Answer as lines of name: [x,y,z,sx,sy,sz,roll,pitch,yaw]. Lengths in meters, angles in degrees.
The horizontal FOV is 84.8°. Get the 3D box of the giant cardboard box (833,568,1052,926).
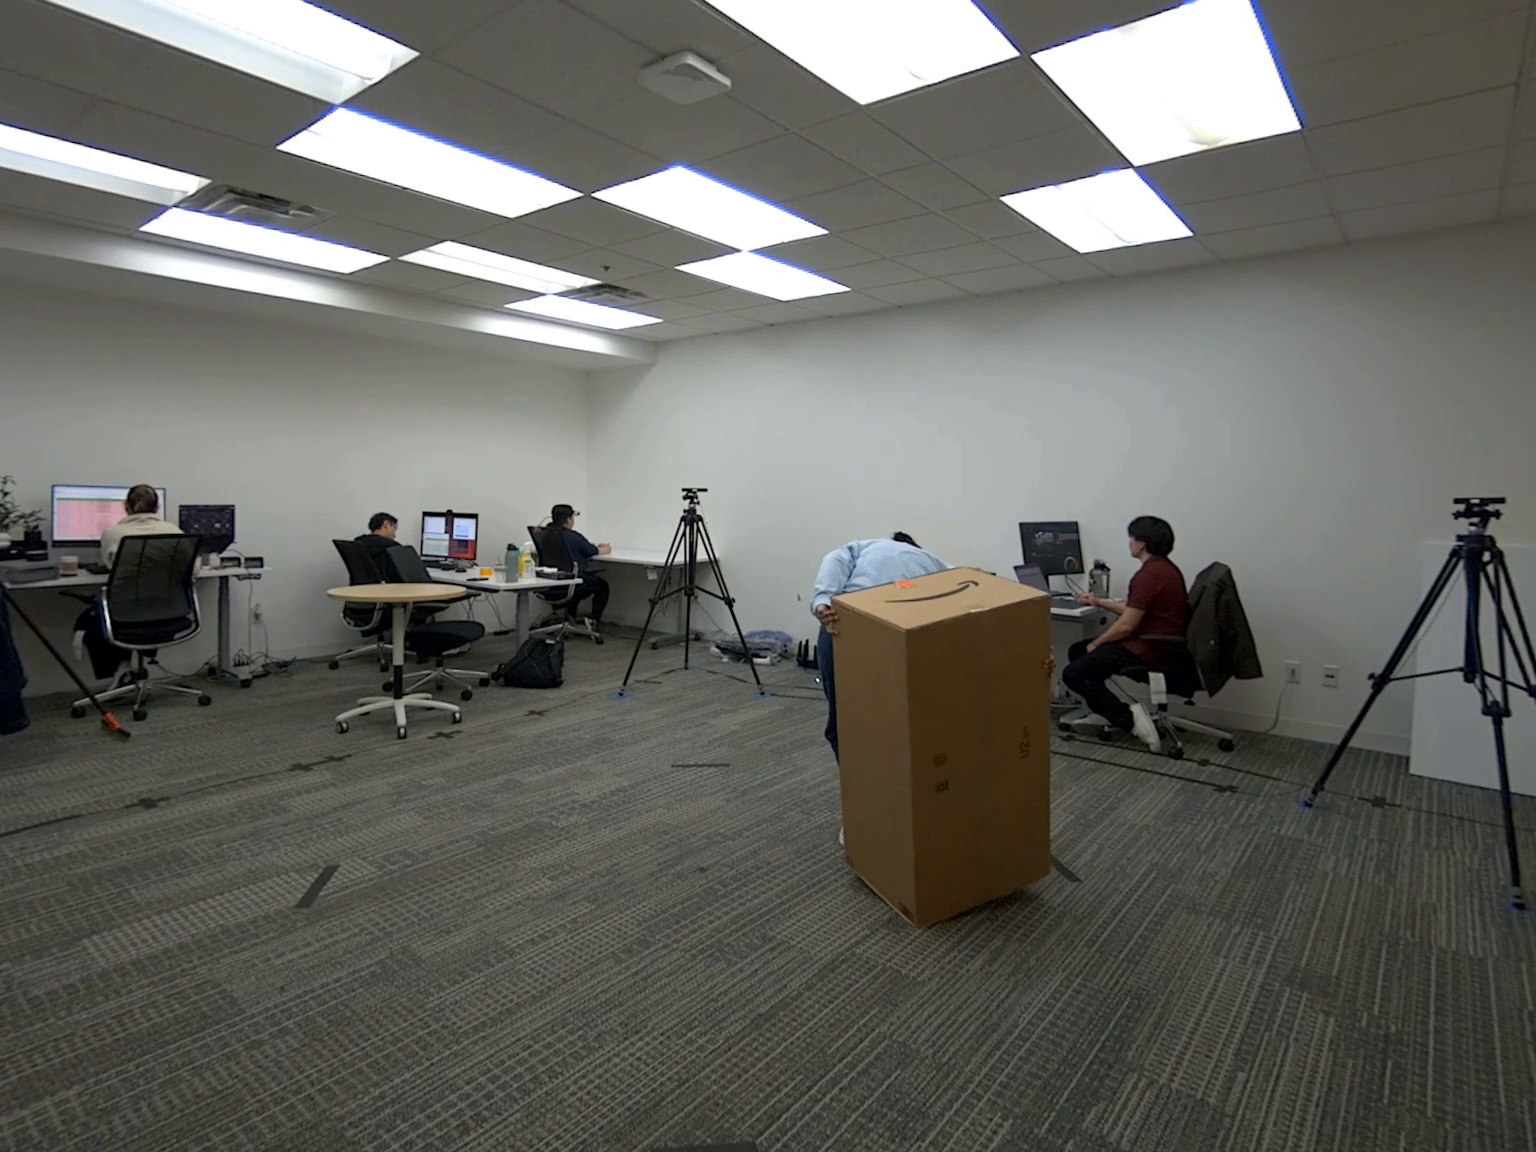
giant cardboard box: [0.583,0.549,2.909,0.567,1.013,0.440,-10,14,-23]
